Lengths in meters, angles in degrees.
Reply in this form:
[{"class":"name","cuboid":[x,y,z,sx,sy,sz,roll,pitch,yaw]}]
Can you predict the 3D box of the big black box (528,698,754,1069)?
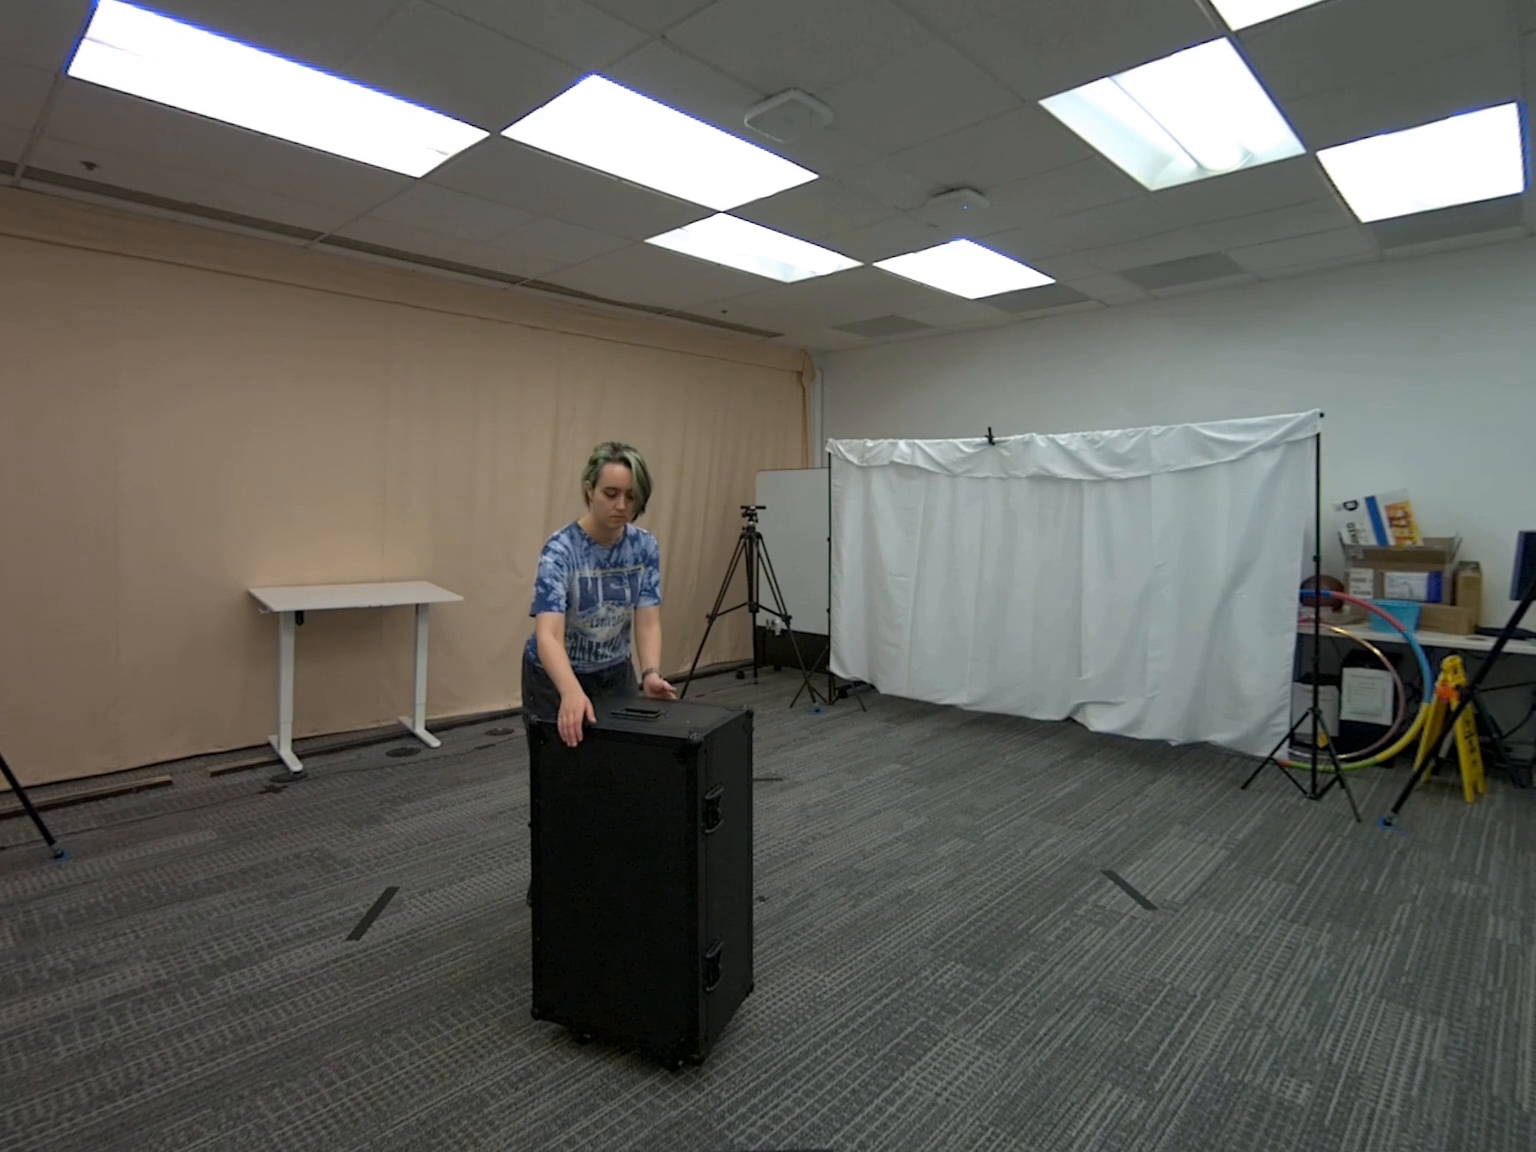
[{"class":"big black box","cuboid":[-0.321,0.787,2.234,0.534,0.860,0.388,1,3,23]}]
